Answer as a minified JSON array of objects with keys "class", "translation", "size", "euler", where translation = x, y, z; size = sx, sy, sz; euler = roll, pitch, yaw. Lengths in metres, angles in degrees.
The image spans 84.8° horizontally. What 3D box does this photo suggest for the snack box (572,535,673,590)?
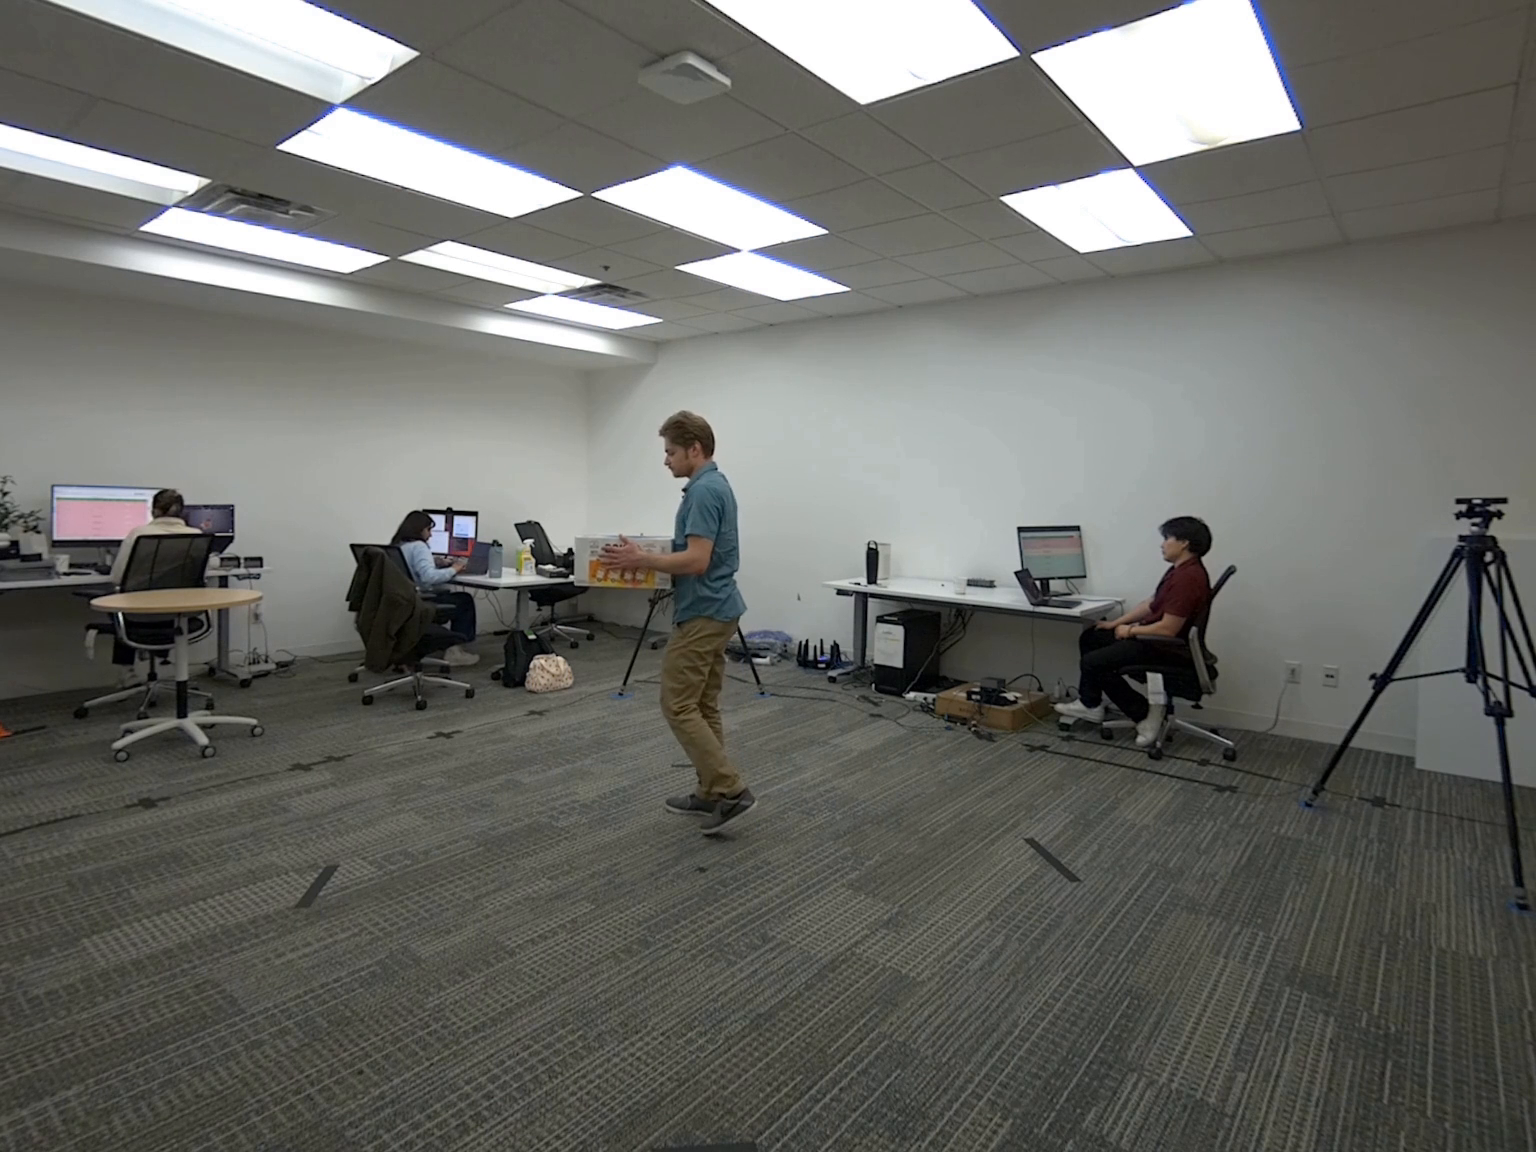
[{"class":"snack box","translation":[-0.597,-0.070,3.620],"size":[0.408,0.205,0.339],"euler":[2,4,6]}]
